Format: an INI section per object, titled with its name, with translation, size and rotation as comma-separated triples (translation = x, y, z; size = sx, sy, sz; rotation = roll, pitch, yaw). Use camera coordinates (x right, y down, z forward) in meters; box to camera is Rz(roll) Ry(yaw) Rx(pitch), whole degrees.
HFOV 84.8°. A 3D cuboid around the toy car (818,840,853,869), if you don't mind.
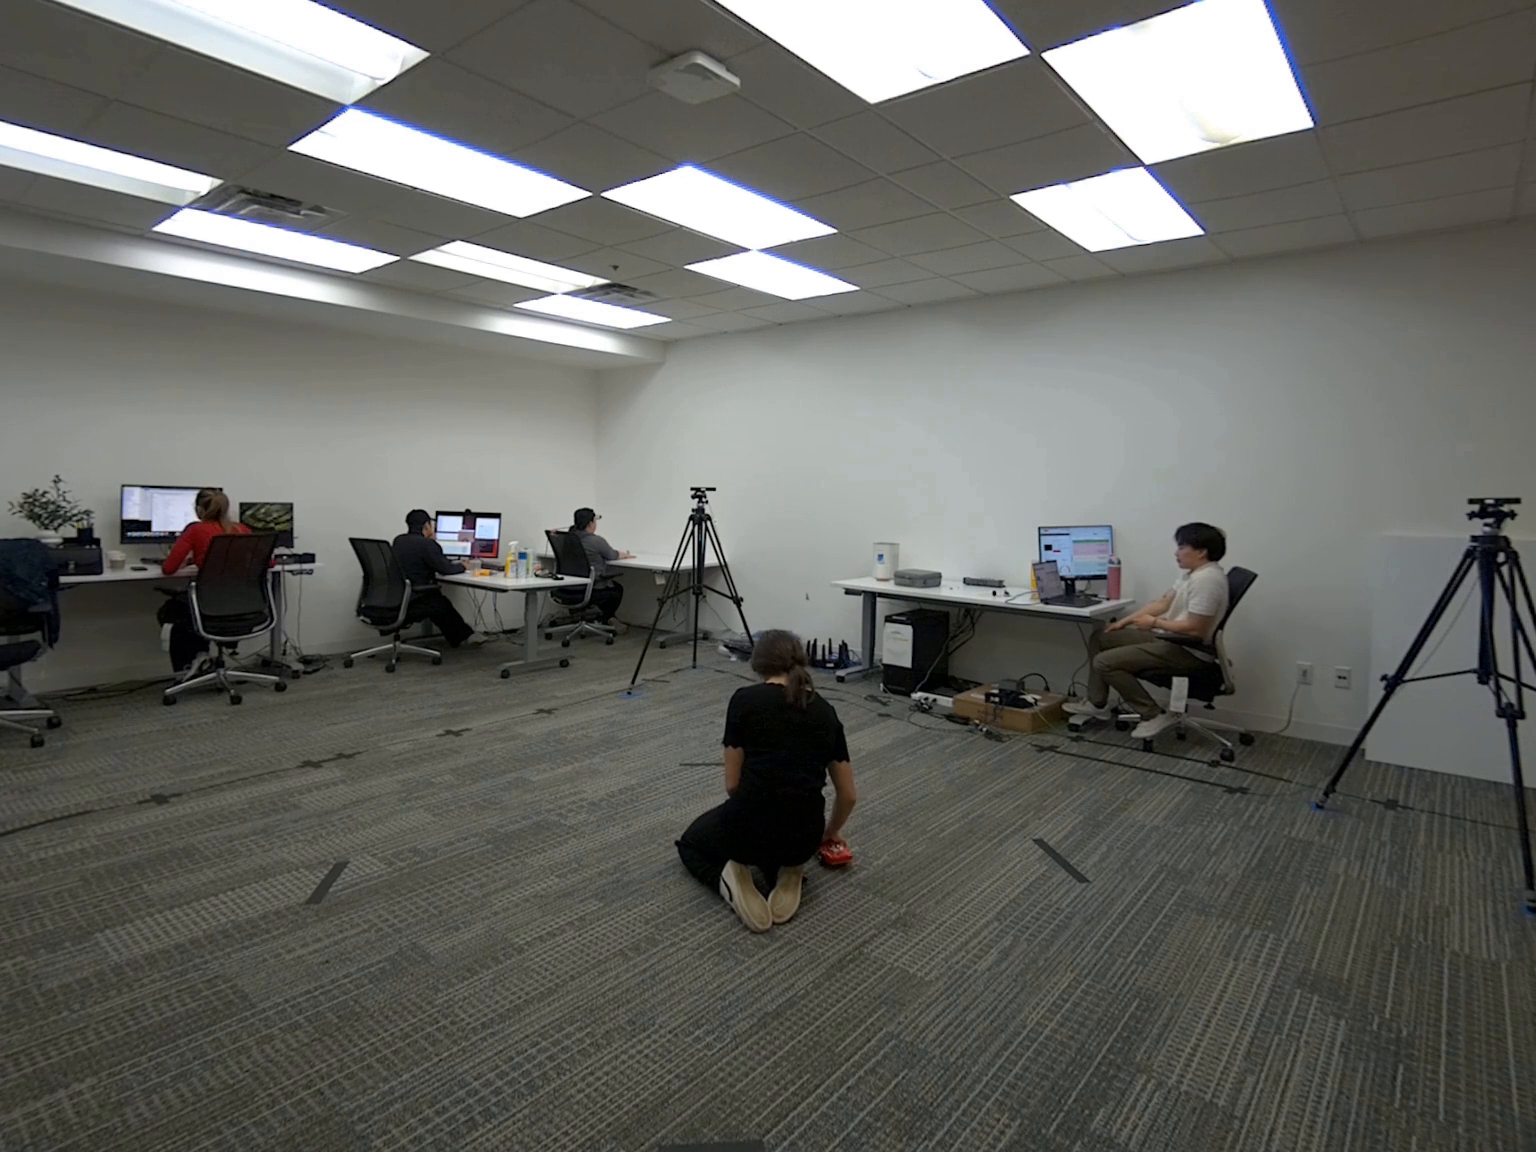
[toy car]
translation = 0.210, 1.036, 3.217
size = 0.127, 0.084, 0.259
rotation = -1, -4, -23
